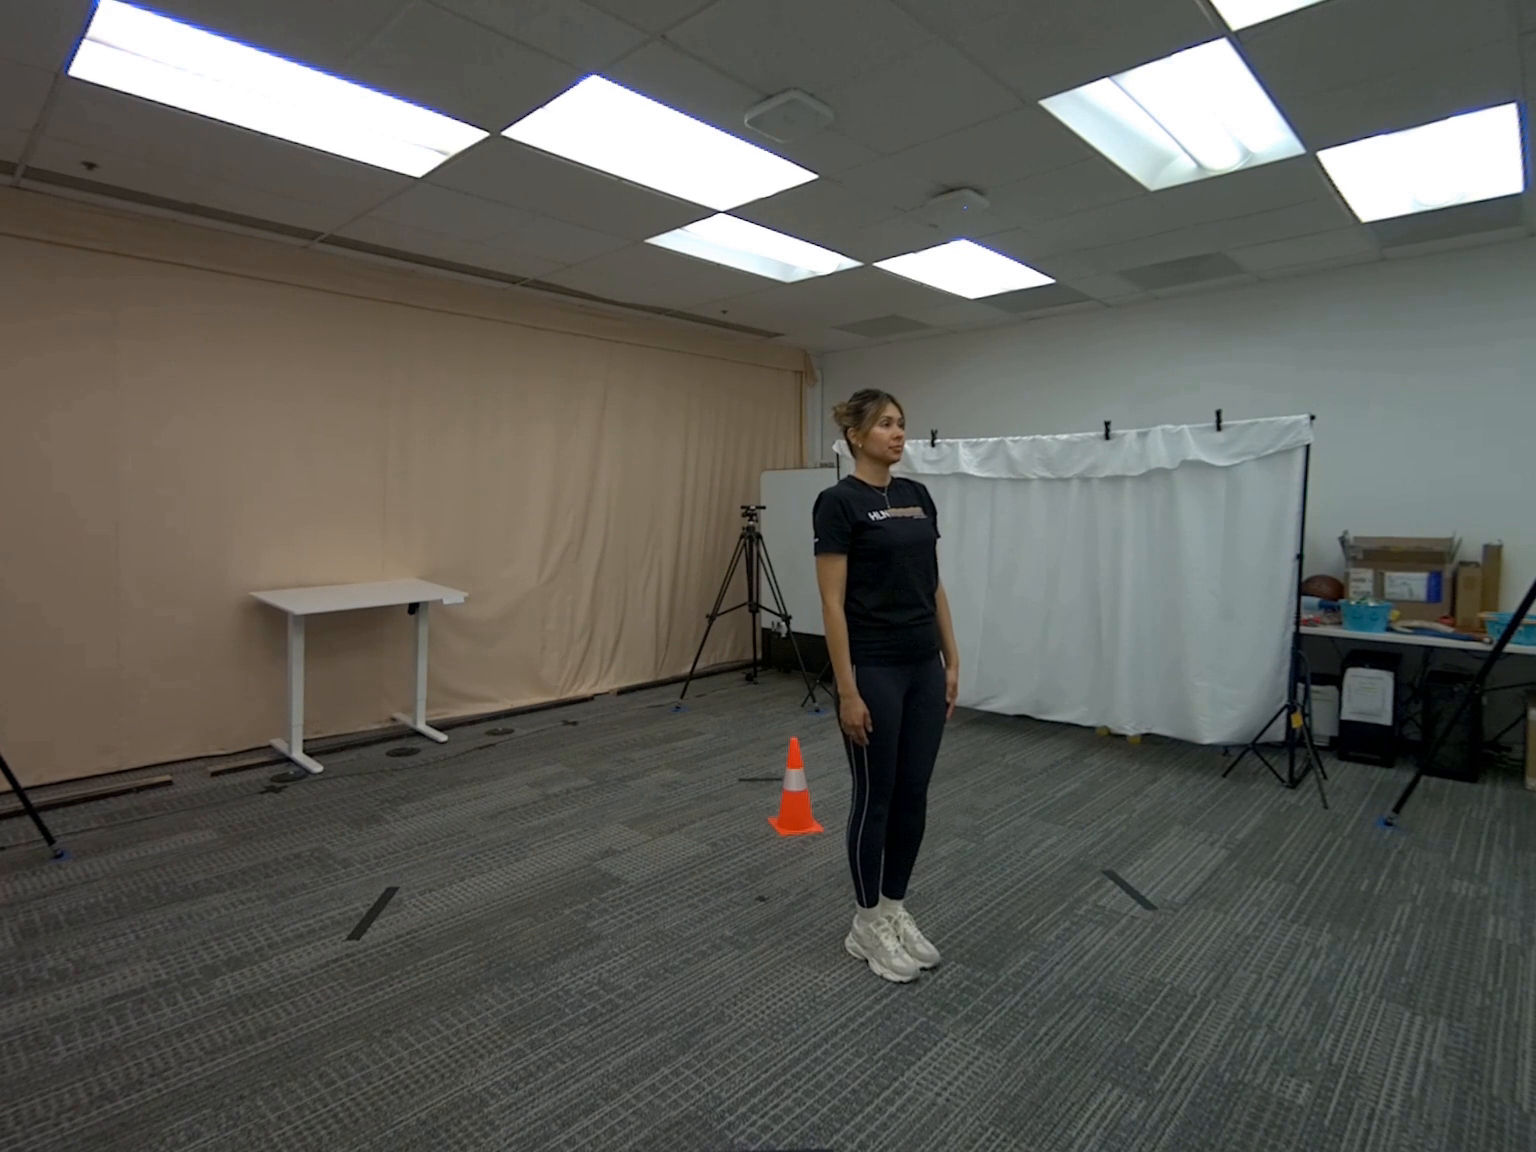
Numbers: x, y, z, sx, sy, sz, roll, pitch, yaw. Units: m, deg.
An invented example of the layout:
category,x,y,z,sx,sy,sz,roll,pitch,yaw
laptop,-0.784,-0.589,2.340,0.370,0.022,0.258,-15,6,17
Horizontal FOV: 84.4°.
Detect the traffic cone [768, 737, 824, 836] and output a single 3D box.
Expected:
category,x,y,z,sx,sy,sz,roll,pitch,yaw
traffic cone,0.118,0.901,3.676,0.199,0.383,0.209,-1,2,-19
